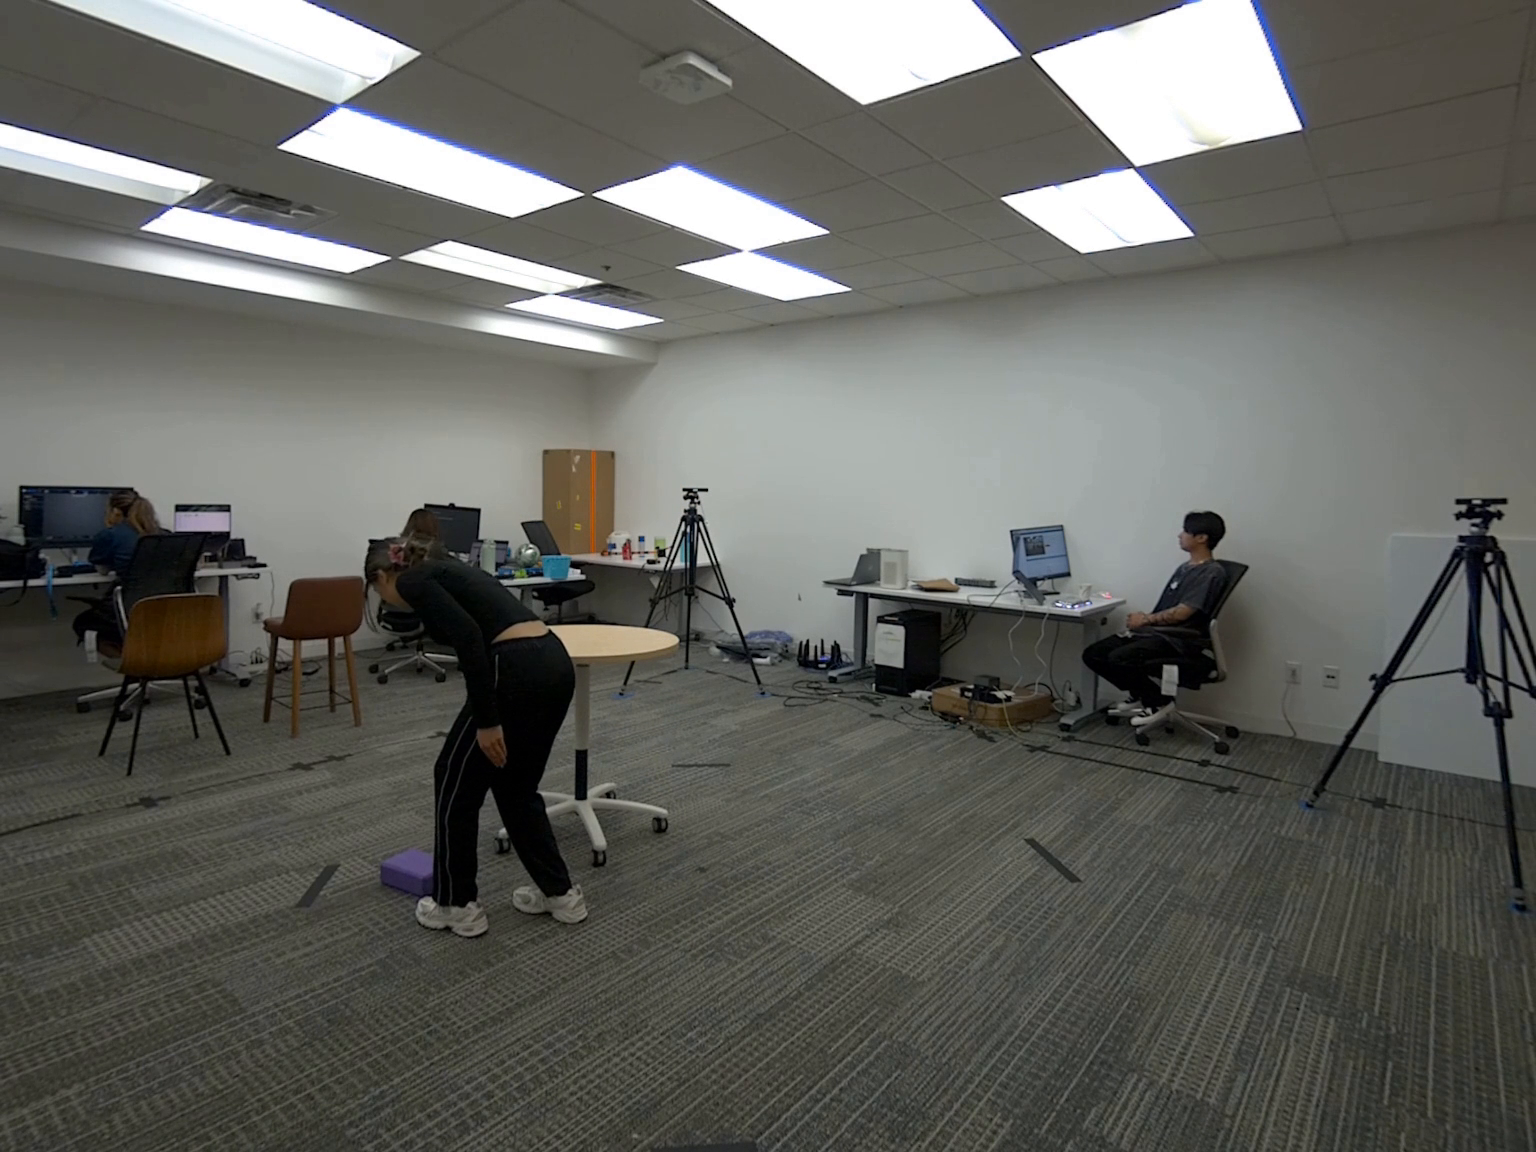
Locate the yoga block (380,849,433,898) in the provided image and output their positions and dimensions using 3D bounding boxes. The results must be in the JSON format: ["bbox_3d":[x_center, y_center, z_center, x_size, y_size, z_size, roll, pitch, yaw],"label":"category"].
[{"bbox_3d":[-1.231,1.029,2.961,0.236,0.076,0.145,3,6,29],"label":"yoga block"}]
